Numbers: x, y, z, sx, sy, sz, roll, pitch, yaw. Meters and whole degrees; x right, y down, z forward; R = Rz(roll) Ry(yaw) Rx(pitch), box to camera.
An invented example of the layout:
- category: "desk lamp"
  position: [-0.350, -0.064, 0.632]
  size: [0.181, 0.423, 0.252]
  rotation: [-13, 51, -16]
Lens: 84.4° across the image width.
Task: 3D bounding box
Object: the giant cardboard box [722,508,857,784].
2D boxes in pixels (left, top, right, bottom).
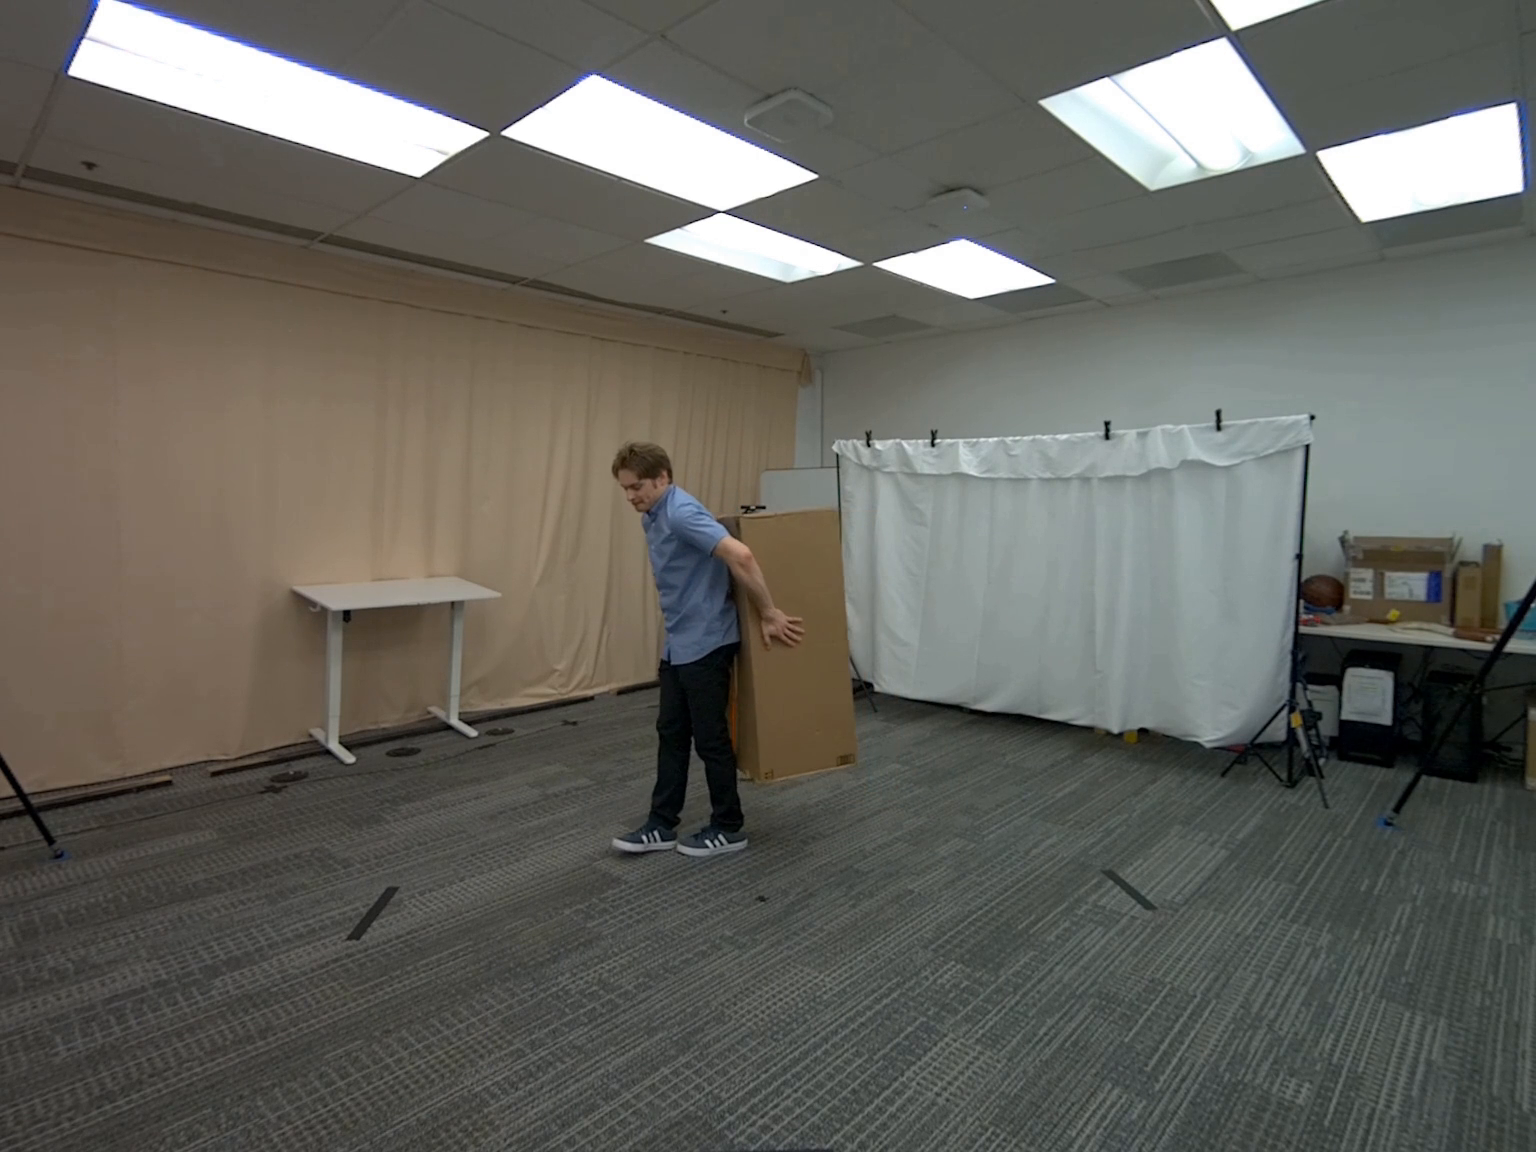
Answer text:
- category: "giant cardboard box"
  position: [0.011, 0.260, 3.491]
  size: [0.437, 1.026, 0.597]
  rotation: [-4, 2, -24]
